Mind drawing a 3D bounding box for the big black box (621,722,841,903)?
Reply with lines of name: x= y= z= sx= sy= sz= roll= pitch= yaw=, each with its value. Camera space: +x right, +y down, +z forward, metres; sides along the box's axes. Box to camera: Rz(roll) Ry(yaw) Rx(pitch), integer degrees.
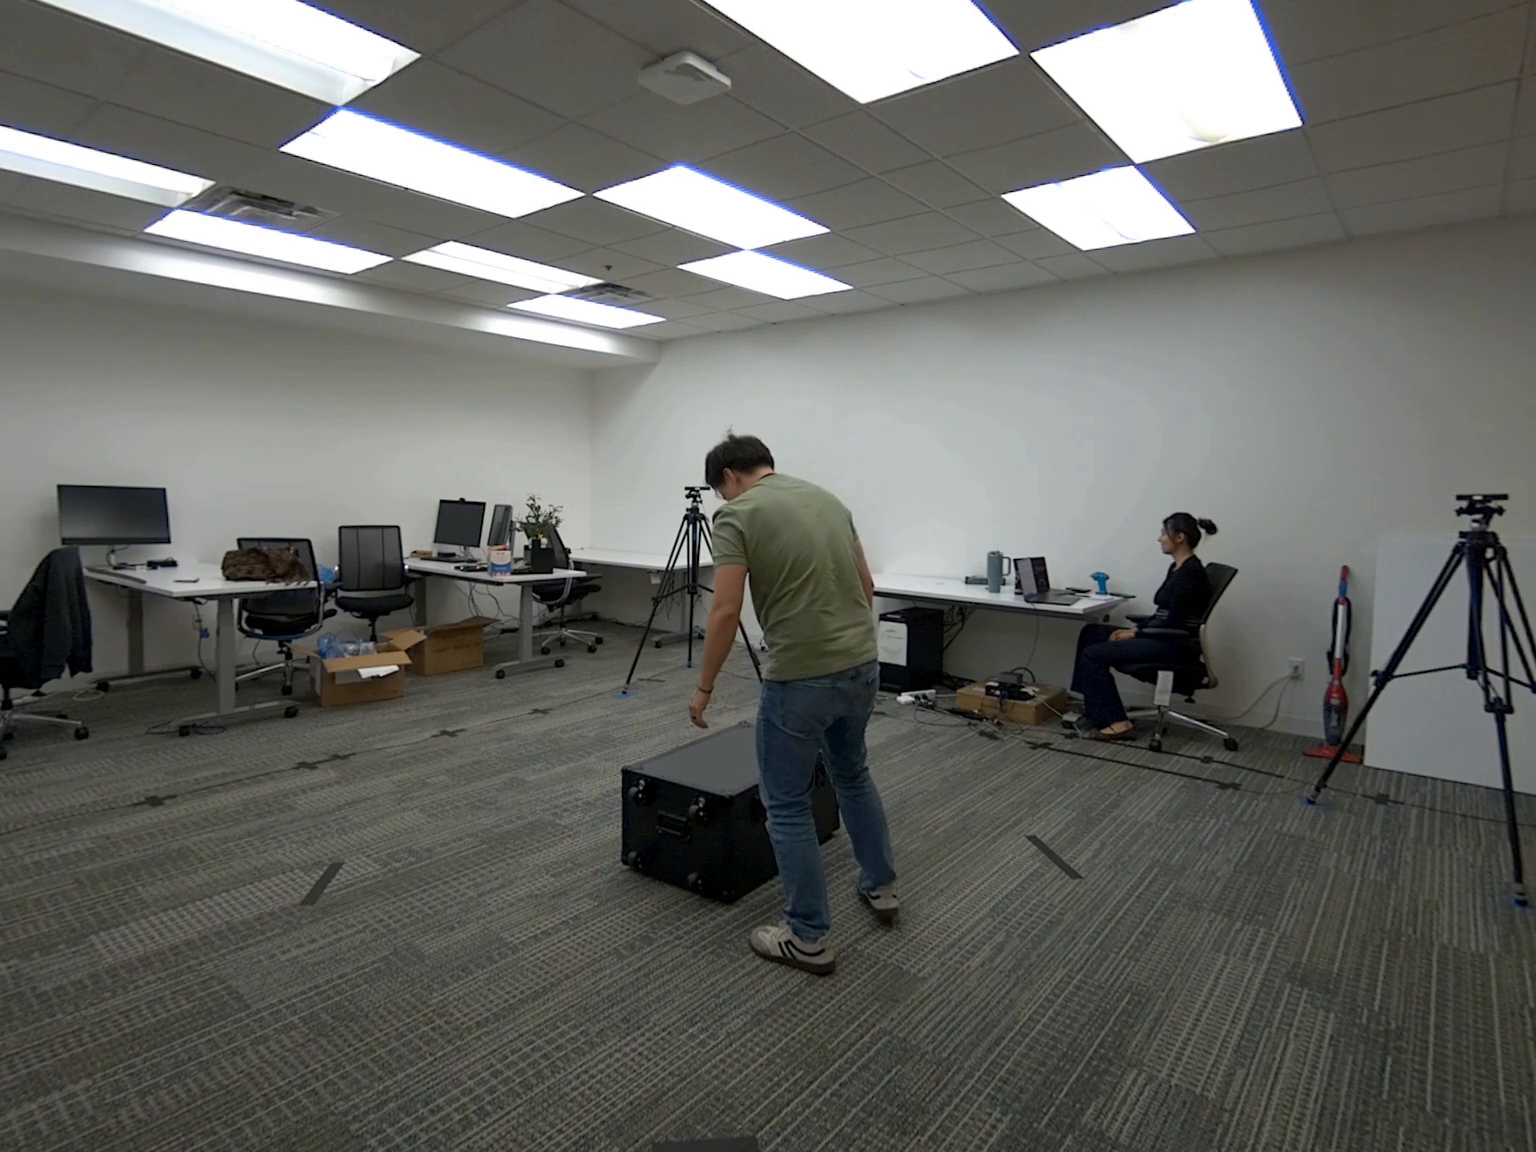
big black box: x=-0.152 y=0.864 z=3.223 sx=0.538 sy=0.395 sz=0.837 roll=4 pitch=5 yaw=34
